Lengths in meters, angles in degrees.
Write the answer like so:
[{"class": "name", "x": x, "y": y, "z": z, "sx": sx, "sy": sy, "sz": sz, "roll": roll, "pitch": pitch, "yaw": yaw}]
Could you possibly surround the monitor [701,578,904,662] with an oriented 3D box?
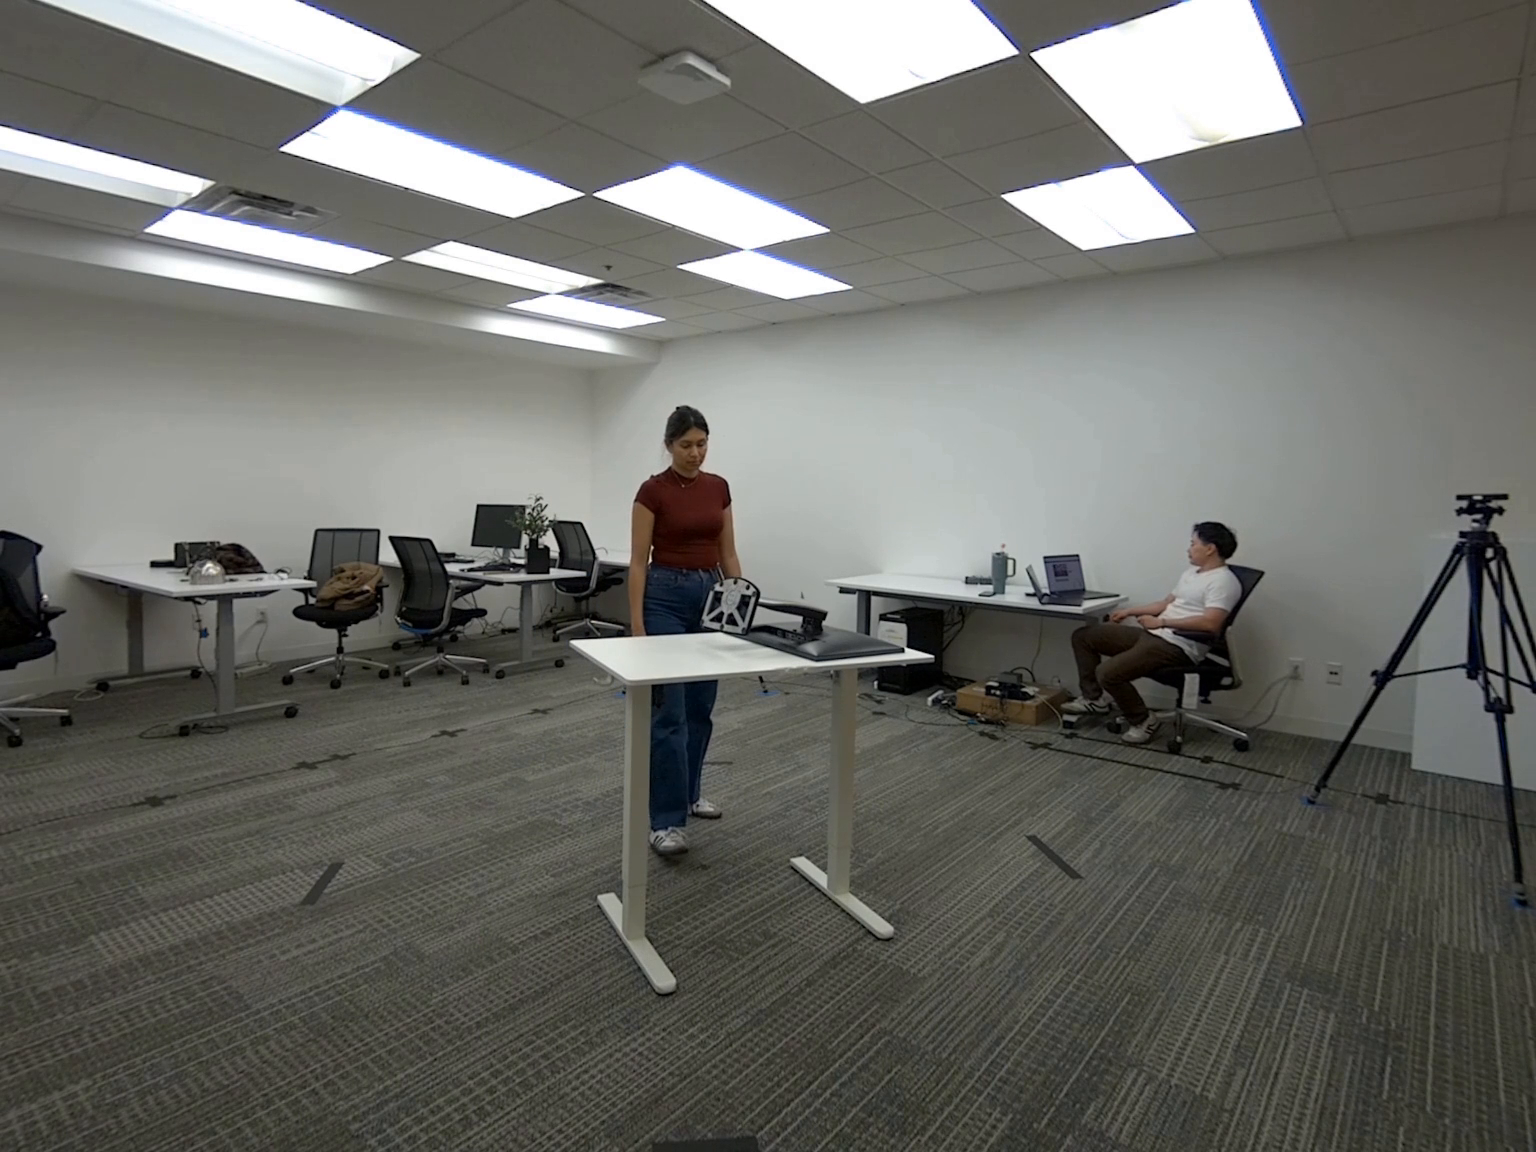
[{"class": "monitor", "x": 0.068, "y": 0.158, "z": 2.789, "sx": 0.505, "sy": 0.187, "sz": 0.556, "roll": 18, "pitch": -3, "yaw": -32}]
